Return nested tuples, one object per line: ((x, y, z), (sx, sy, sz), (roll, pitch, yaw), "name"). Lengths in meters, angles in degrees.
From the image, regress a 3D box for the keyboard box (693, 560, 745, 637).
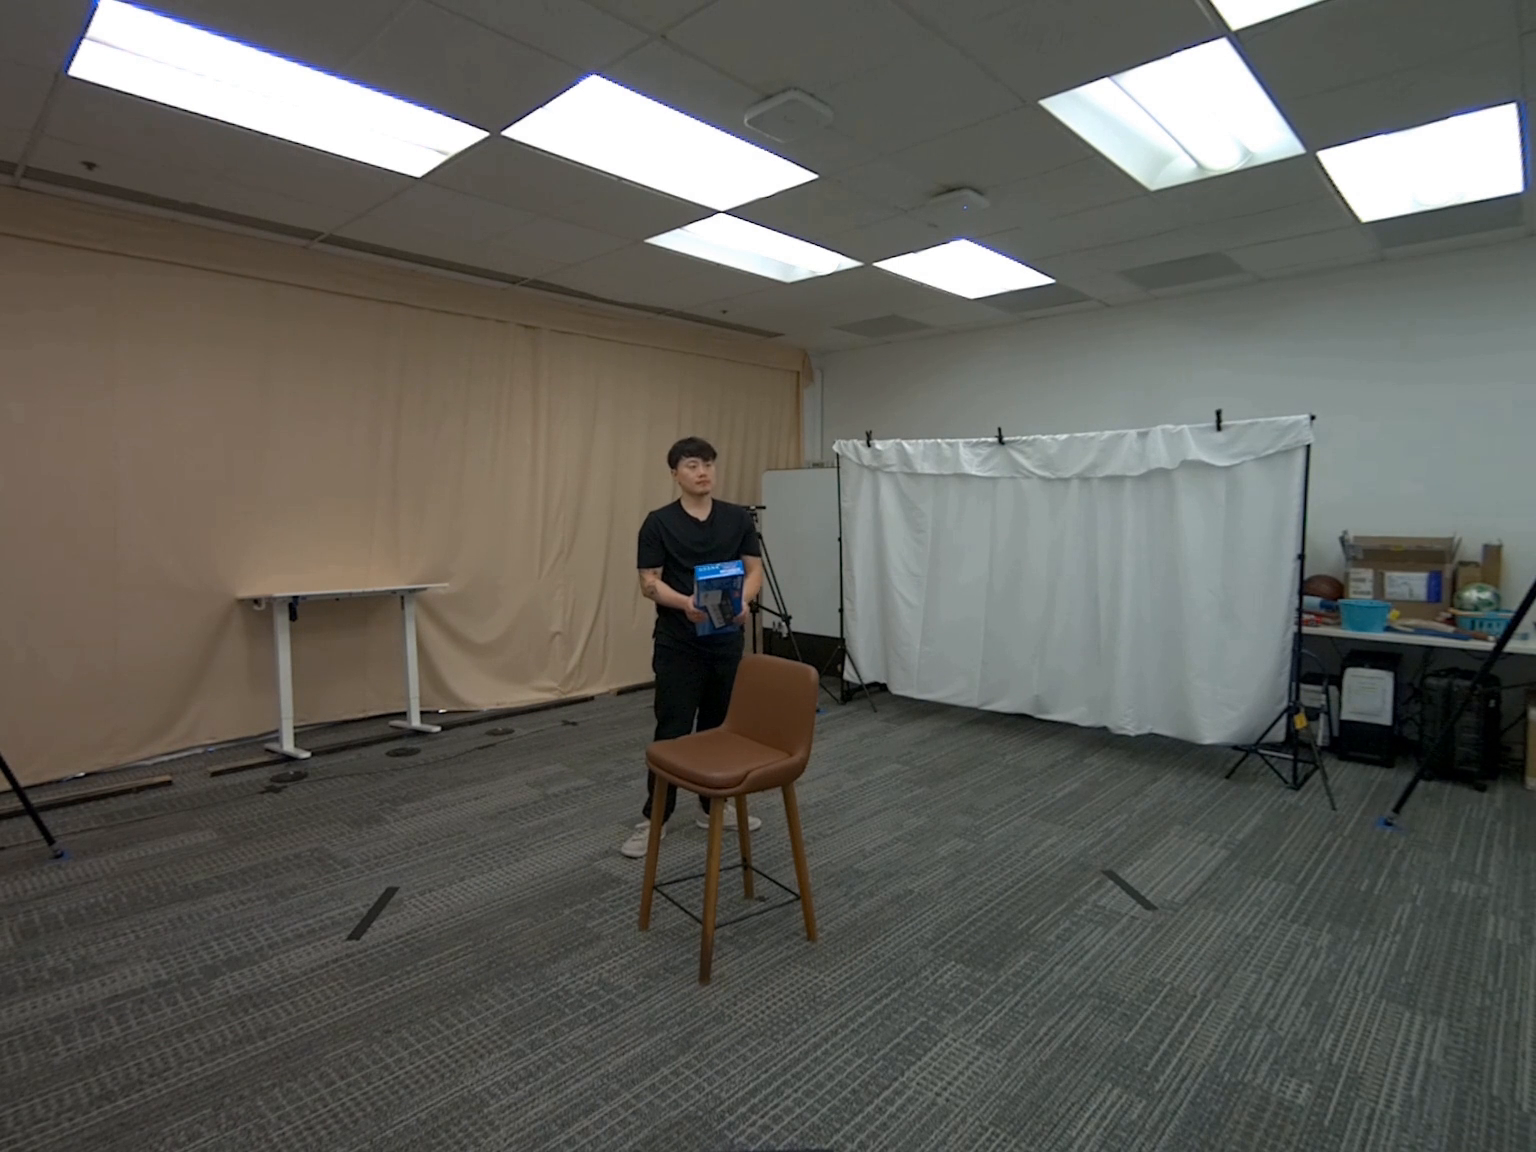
((-0.201, 0.091, 3.168), (0.175, 0.060, 0.430), (-7, -31, -7), "keyboard box")
